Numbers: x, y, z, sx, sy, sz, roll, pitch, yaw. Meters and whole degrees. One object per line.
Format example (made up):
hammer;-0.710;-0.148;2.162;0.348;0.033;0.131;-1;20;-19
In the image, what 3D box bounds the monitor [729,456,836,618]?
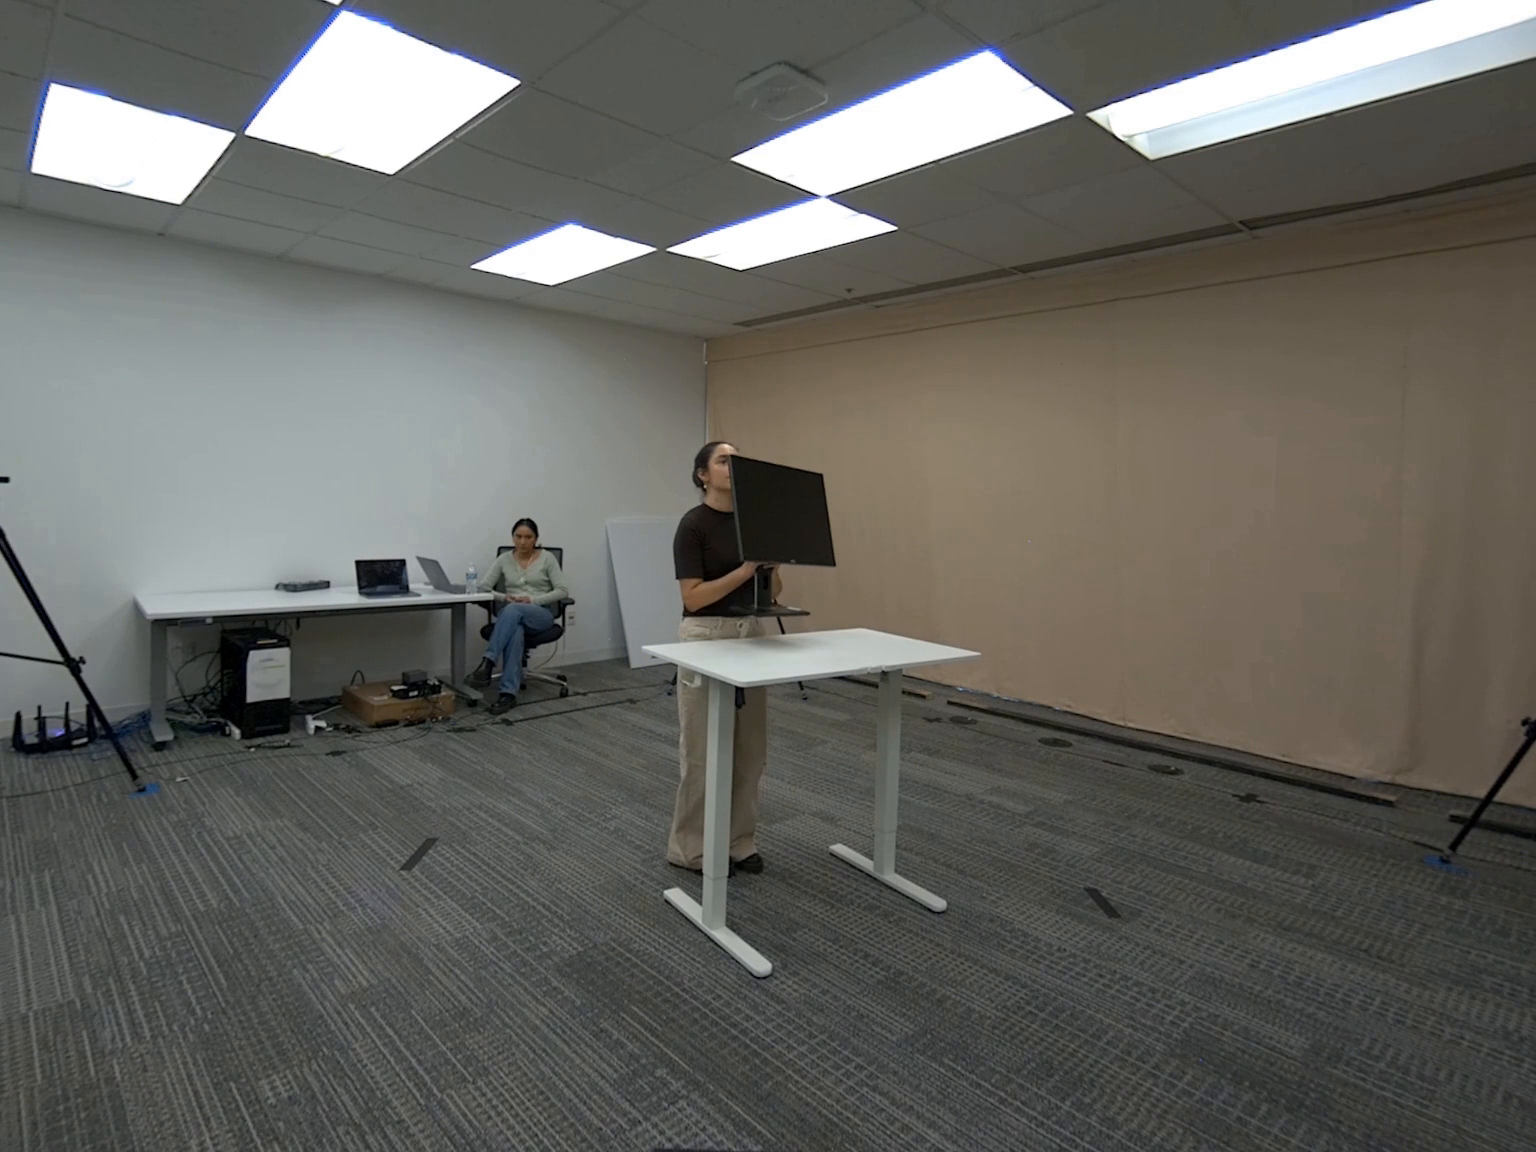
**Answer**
monitor;0.019;-0.125;2.915;0.191;0.523;0.526;3;-1;36
